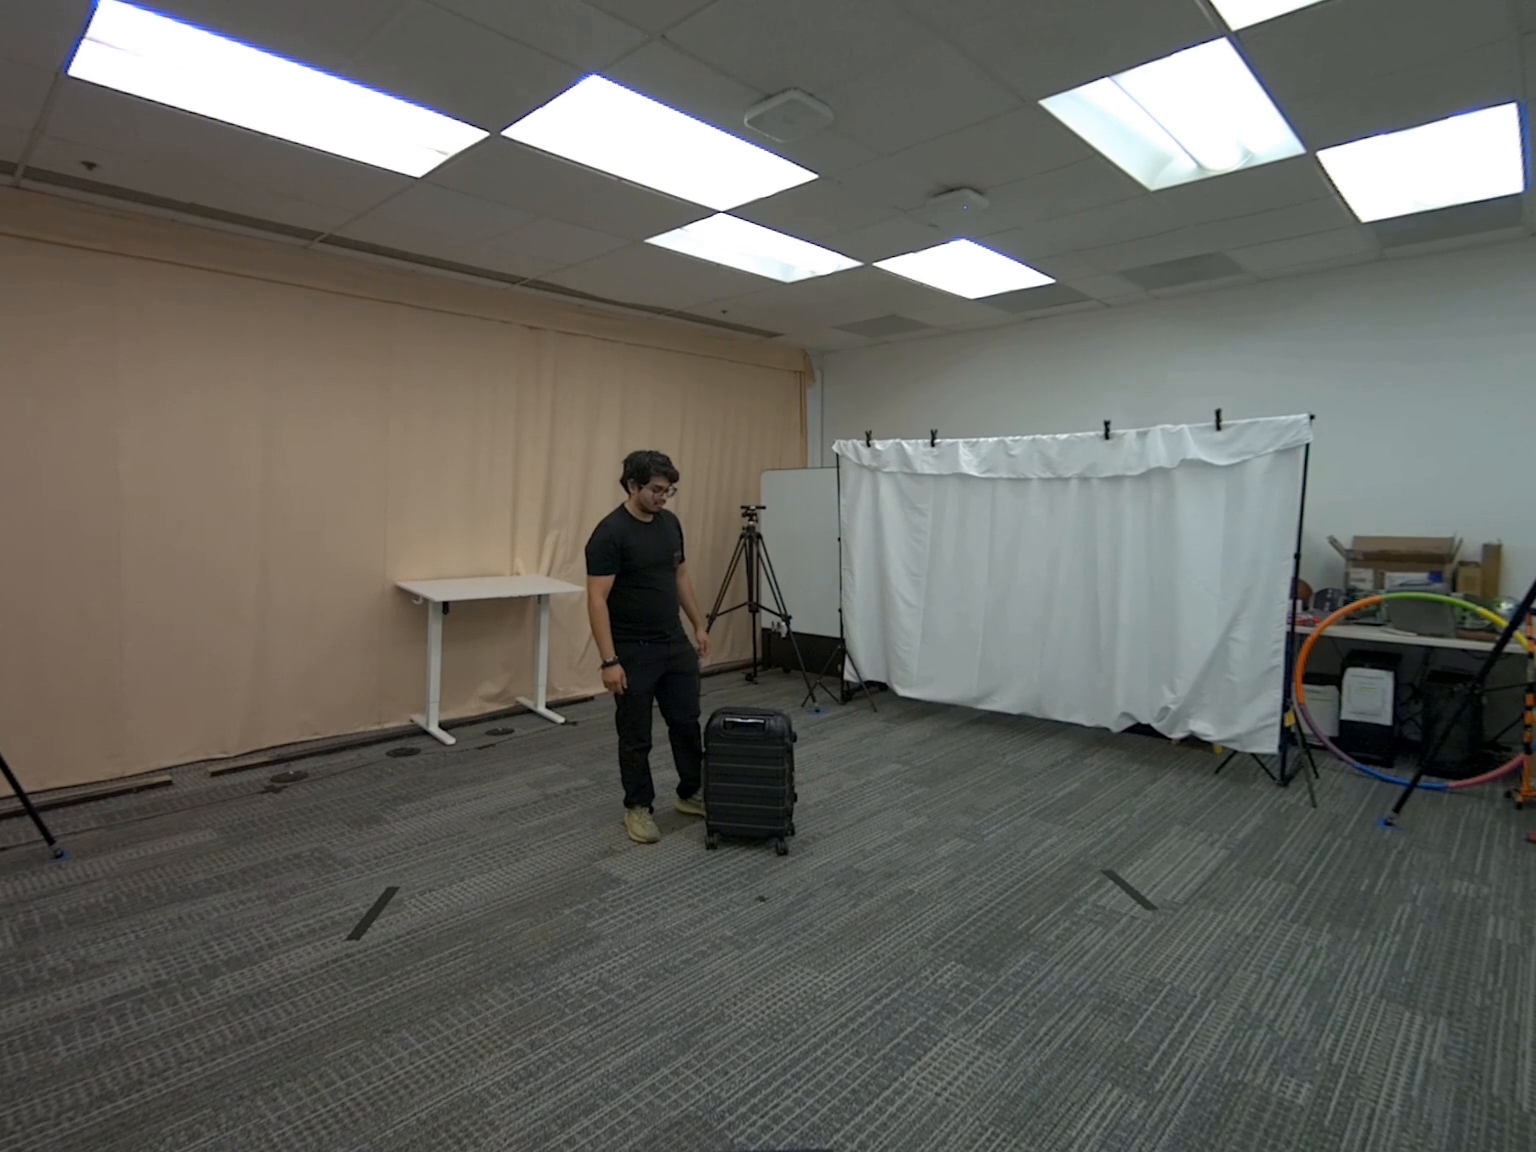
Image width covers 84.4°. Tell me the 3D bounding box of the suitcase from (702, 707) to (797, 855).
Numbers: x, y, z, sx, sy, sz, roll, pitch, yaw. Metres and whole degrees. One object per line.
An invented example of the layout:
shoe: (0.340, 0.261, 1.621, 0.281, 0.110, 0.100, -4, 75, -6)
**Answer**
suitcase: (-0.076, 0.825, 3.500, 0.381, 0.549, 0.245, 0, 1, 12)
